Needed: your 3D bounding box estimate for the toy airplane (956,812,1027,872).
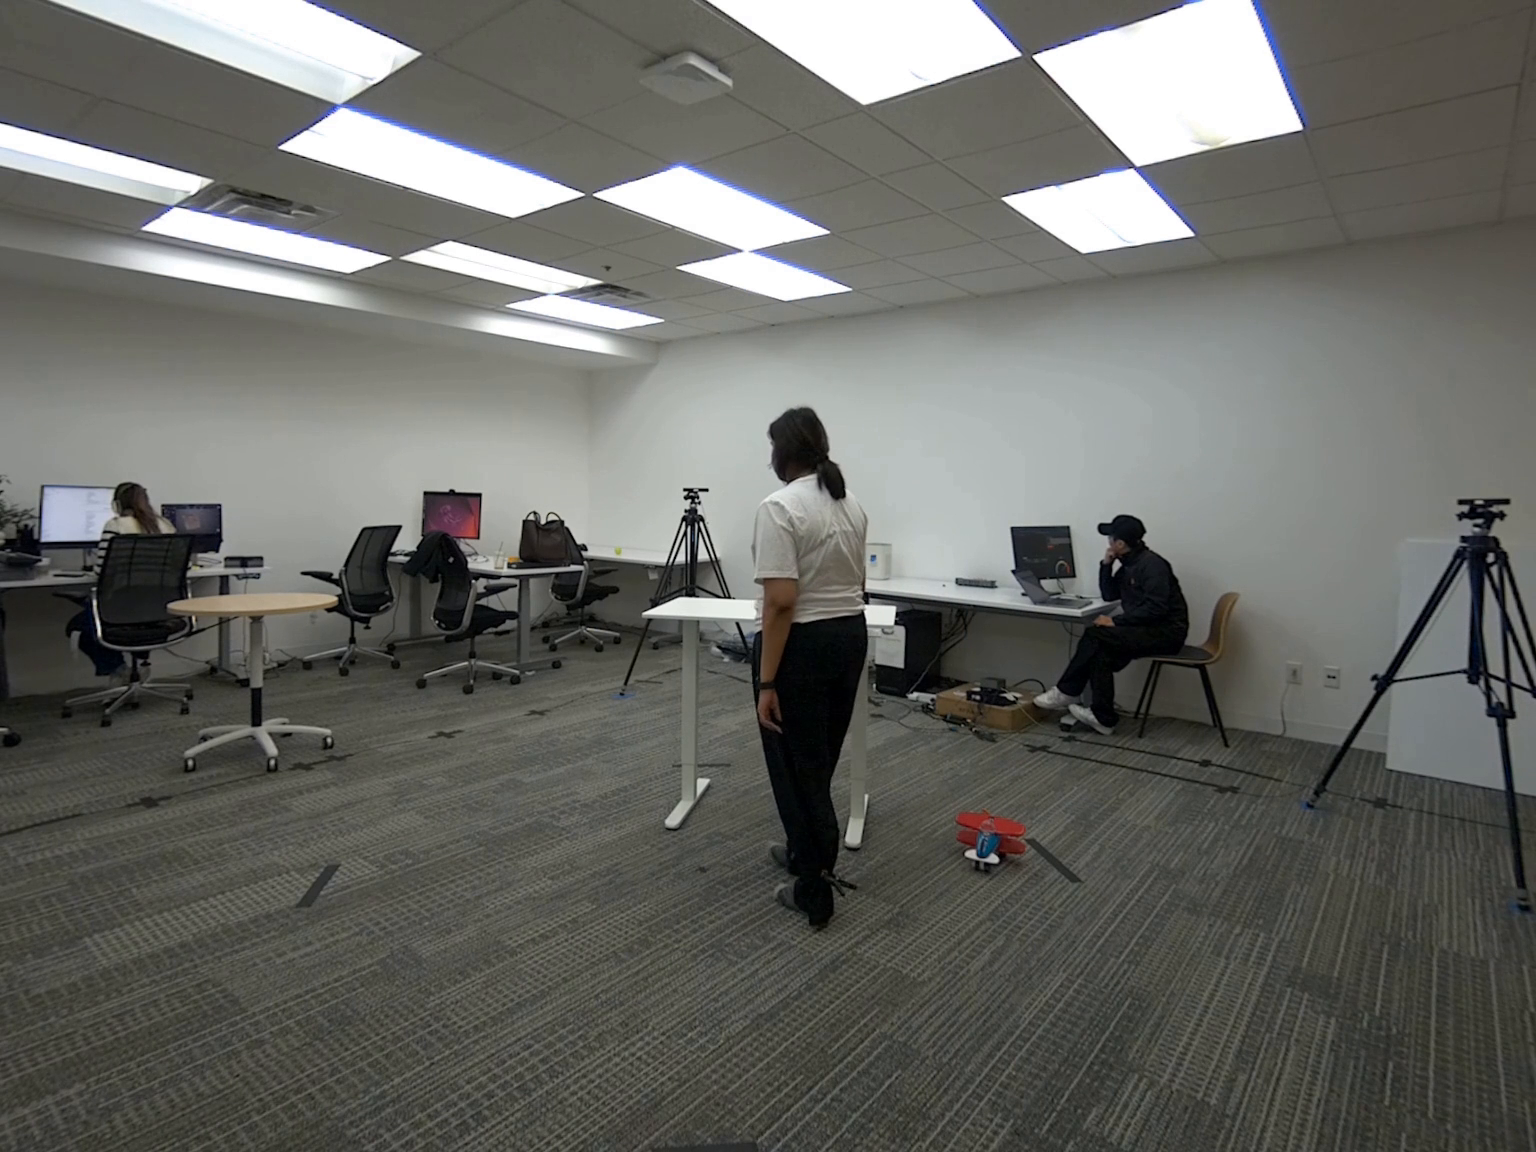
[{"bbox_3d":[0.853,1.009,3.232,0.251,0.156,0.260,2,5,-1],"label":"toy airplane"}]
